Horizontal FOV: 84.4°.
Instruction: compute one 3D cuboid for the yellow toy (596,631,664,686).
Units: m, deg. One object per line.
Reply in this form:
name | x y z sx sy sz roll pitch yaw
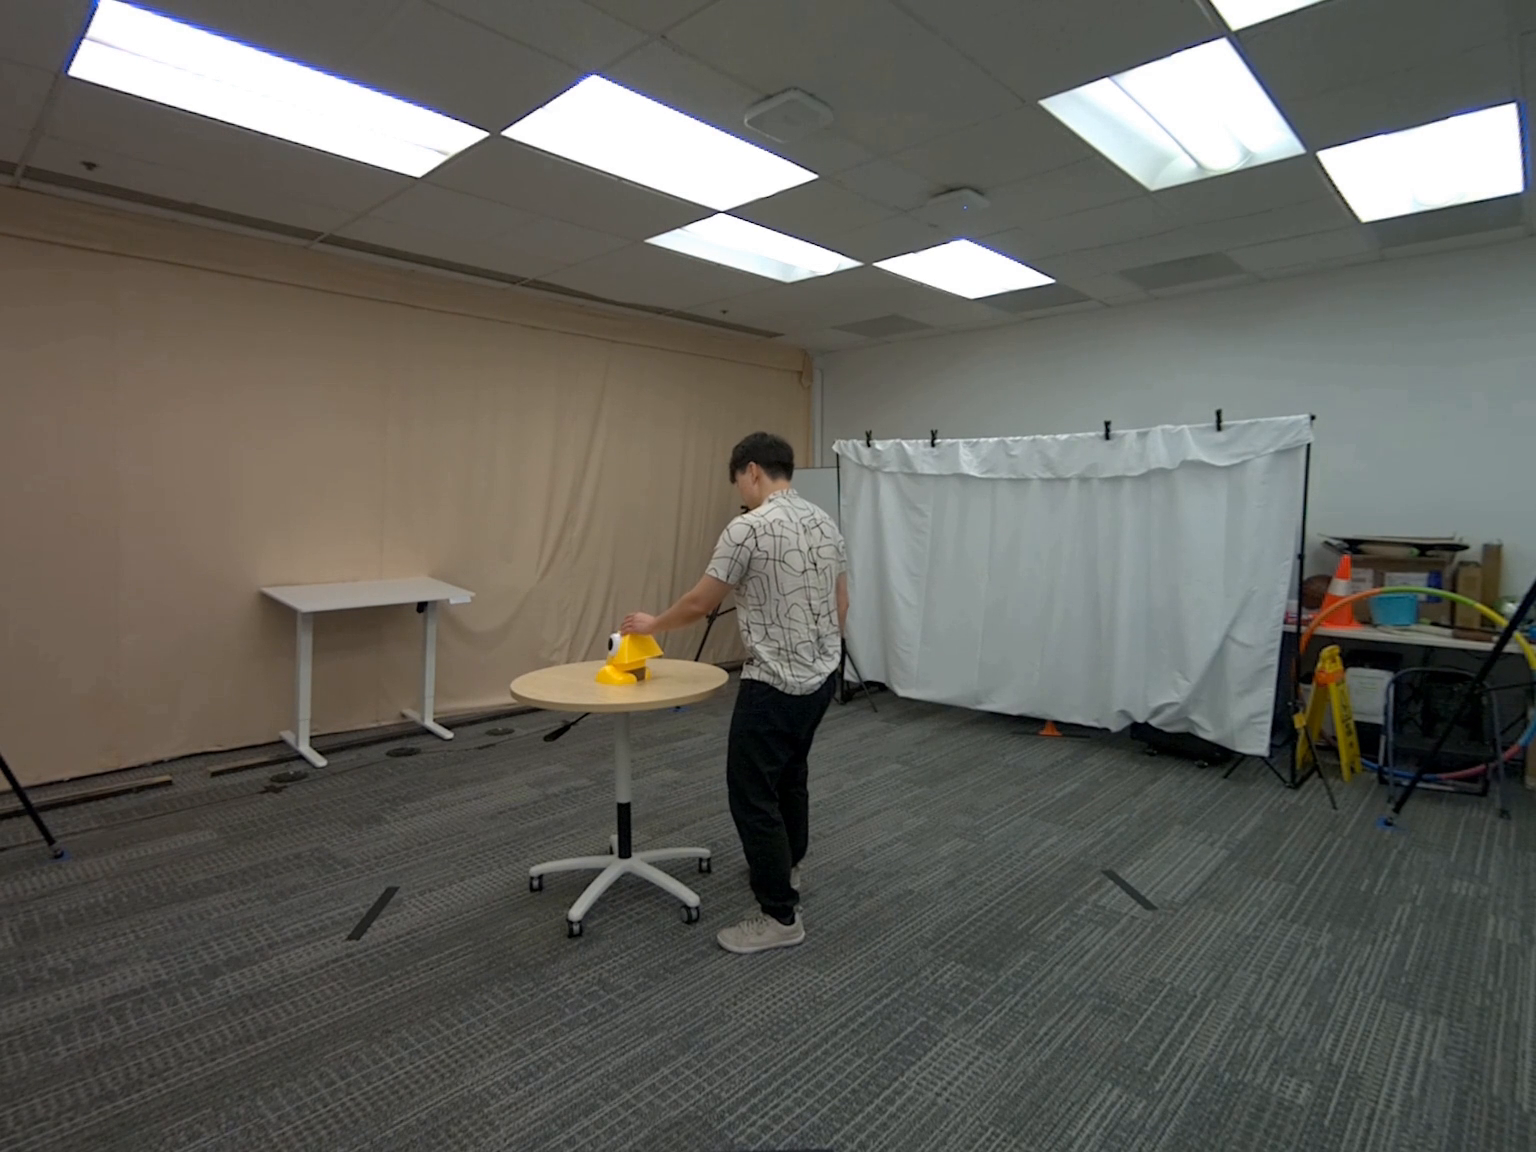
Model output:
yellow toy | -0.506 0.254 2.977 0.199 0.230 0.199 2 4 33
